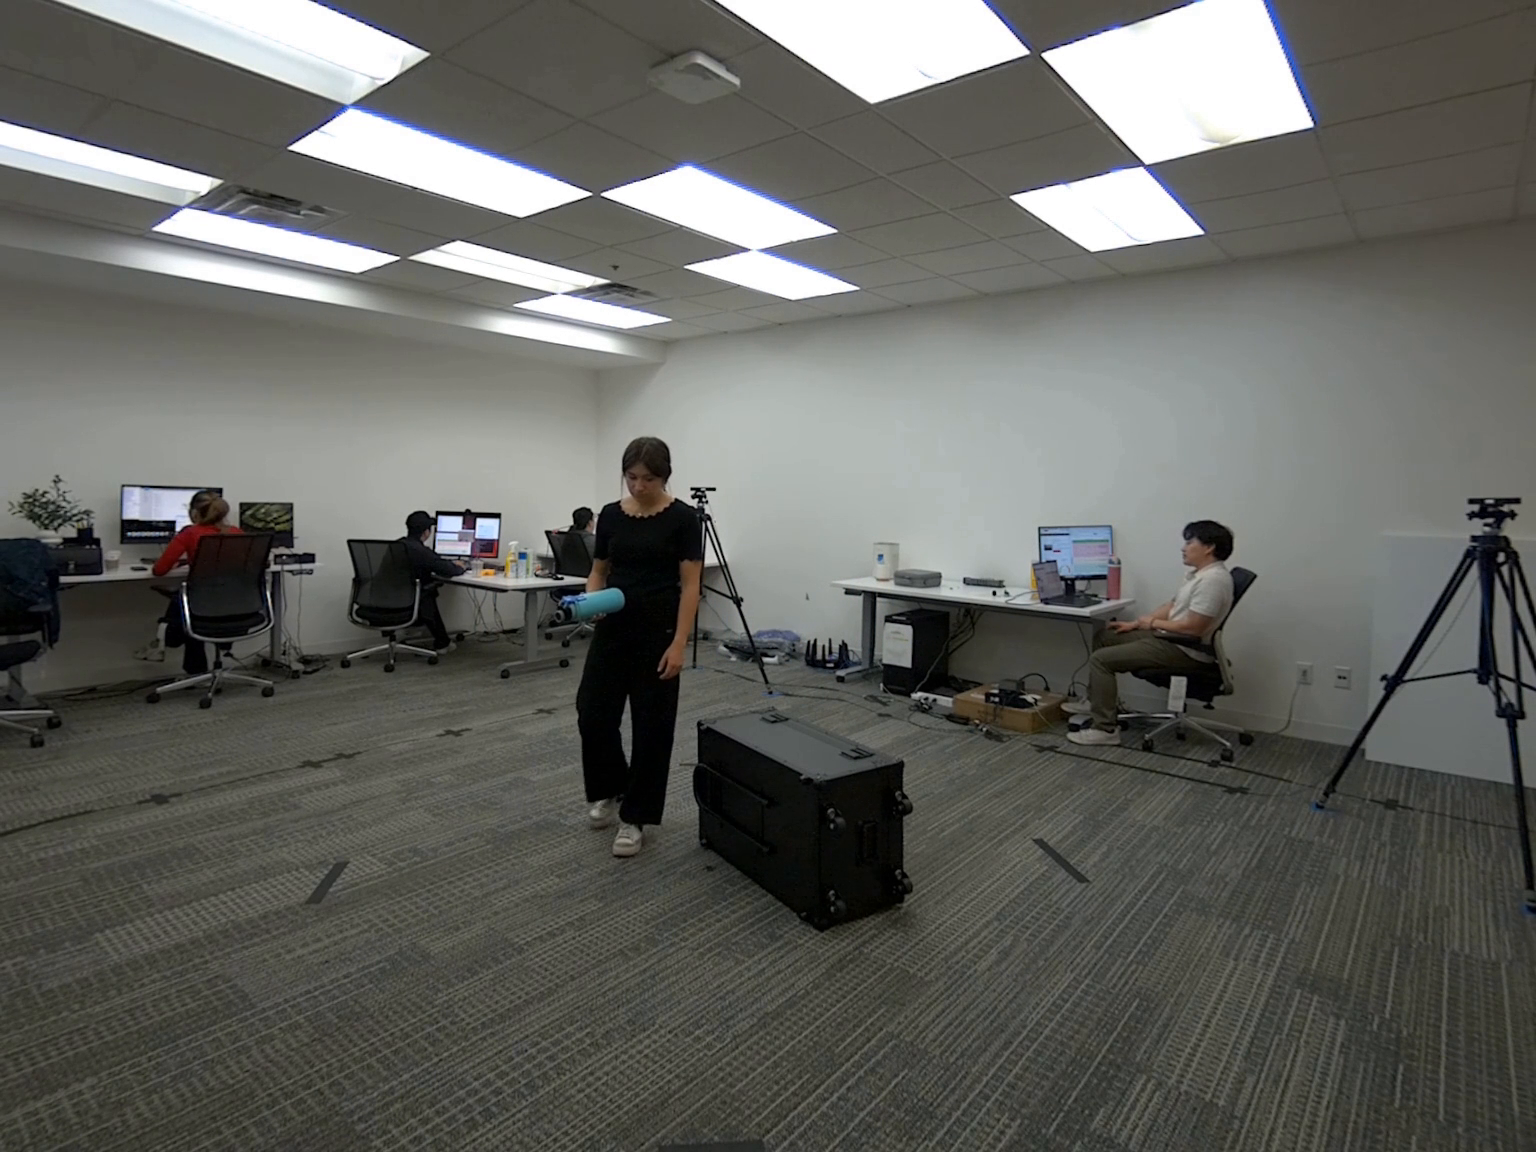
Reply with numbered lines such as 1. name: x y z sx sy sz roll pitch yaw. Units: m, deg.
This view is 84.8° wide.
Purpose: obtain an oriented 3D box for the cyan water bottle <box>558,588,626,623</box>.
1. cyan water bottle: -0.670 0.105 3.099 0.095 0.092 0.276 4 10 36
